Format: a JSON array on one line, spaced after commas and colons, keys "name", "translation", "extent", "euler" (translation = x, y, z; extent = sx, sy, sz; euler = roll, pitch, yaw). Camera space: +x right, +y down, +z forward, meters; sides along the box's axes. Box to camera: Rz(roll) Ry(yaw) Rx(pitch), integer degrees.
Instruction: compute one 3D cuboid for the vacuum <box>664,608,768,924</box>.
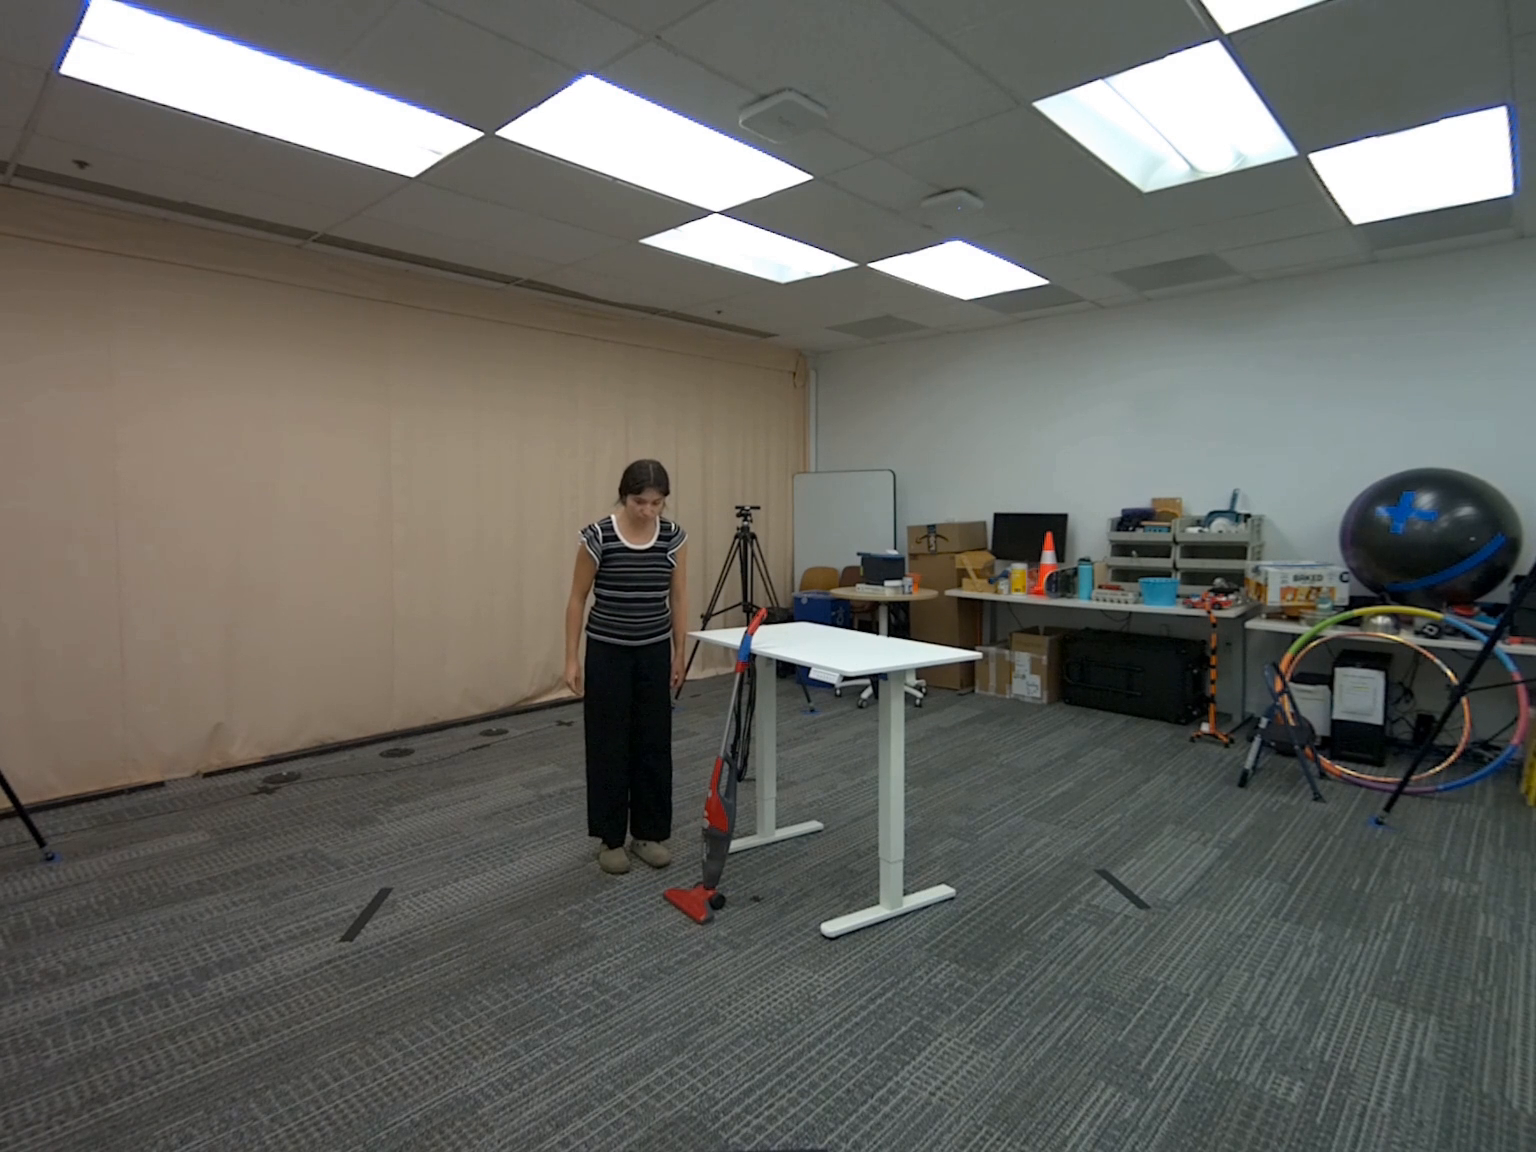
[{"name": "vacuum", "translation": [-0.132, 0.644, 2.988], "extent": [0.139, 1.051, 0.261], "euler": [17, -7, -37]}]
